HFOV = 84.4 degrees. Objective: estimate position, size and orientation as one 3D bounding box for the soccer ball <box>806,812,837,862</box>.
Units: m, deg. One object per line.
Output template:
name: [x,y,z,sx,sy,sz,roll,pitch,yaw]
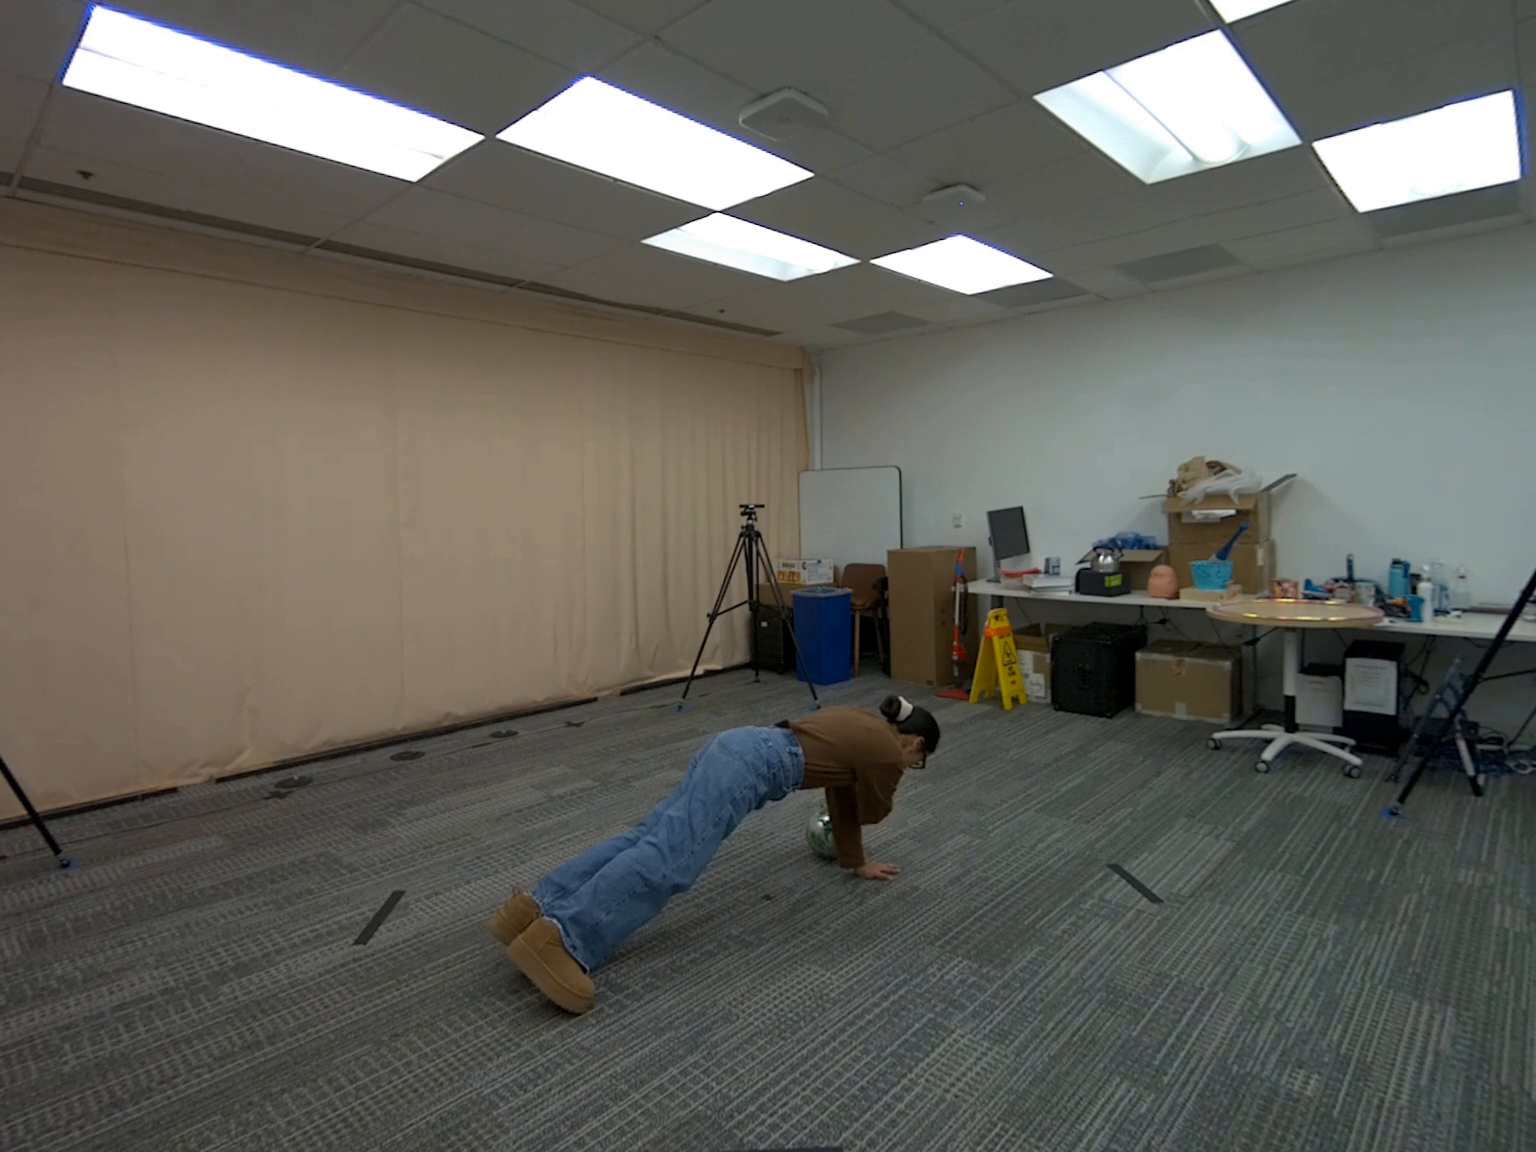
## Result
soccer ball: [0.251,1.009,3.310,0.187,0.187,0.188,-1,4,-2]
